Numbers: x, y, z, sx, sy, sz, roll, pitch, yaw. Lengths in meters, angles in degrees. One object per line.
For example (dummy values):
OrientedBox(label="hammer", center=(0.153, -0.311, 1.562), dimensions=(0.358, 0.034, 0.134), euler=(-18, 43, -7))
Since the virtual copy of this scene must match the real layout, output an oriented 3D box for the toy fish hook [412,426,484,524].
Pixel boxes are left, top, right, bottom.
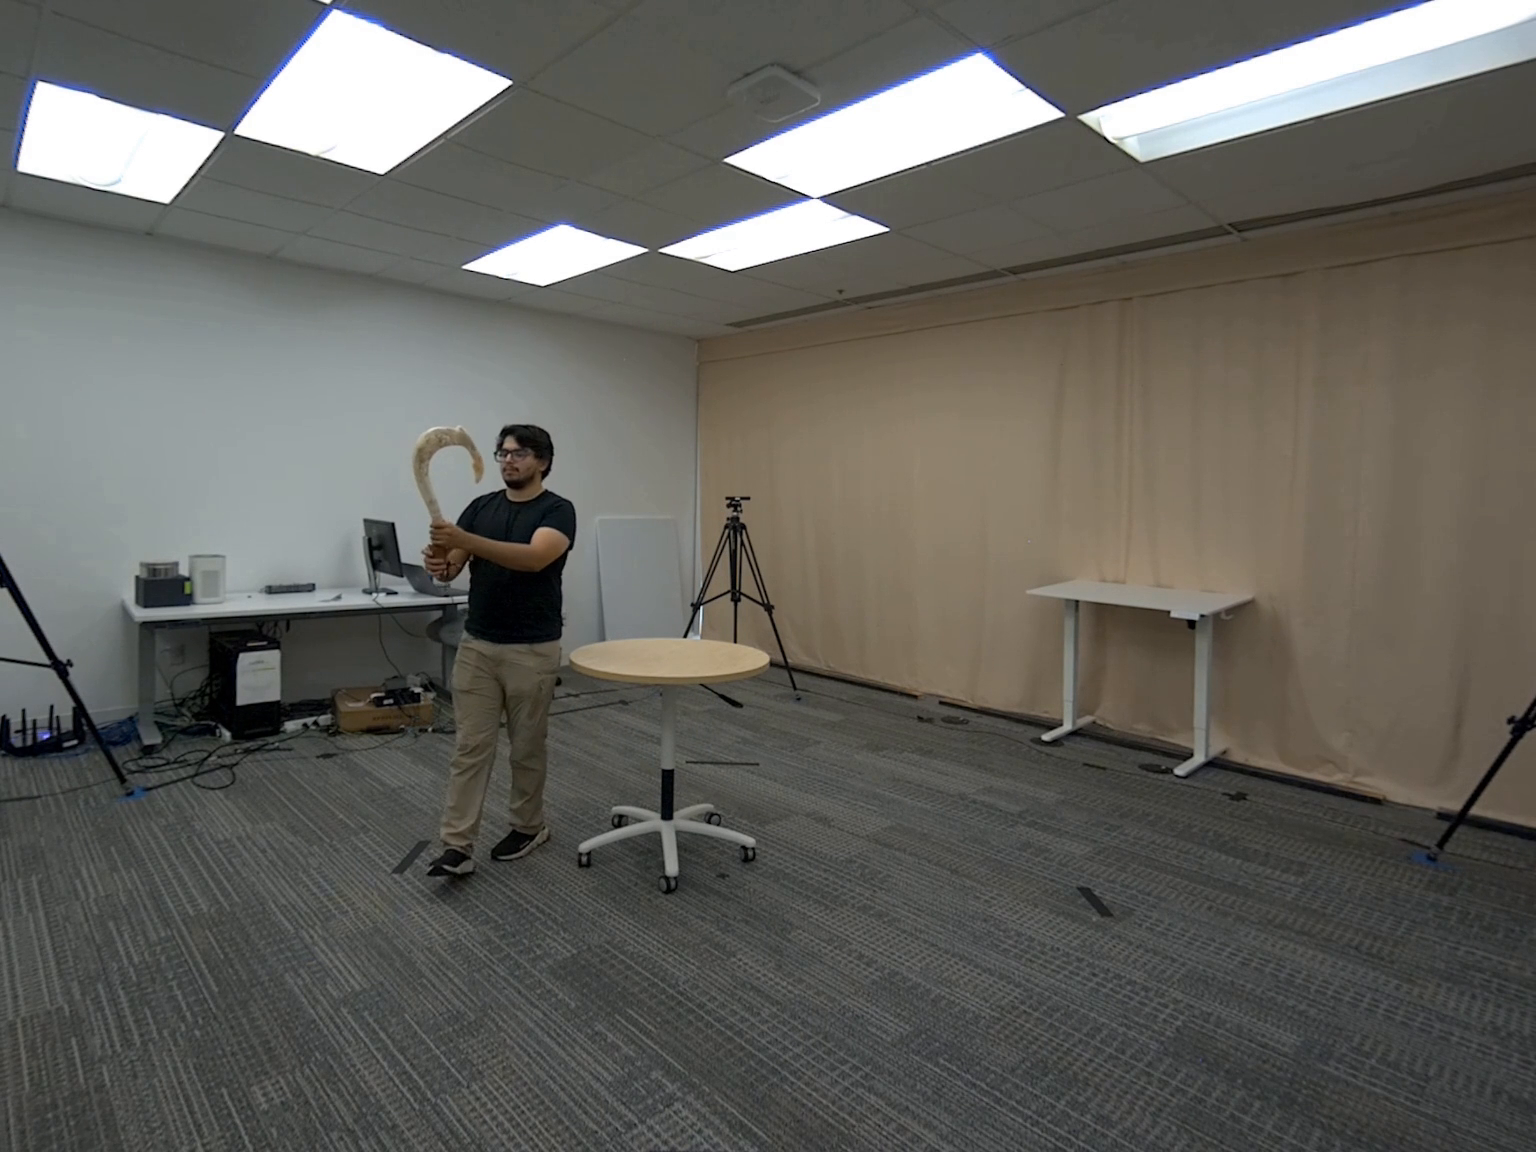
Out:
OrientedBox(label="toy fish hook", center=(-1.061, -0.242, 2.770), dimensions=(0.220, 0.500, 0.050), euler=(-9, 22, -32))
